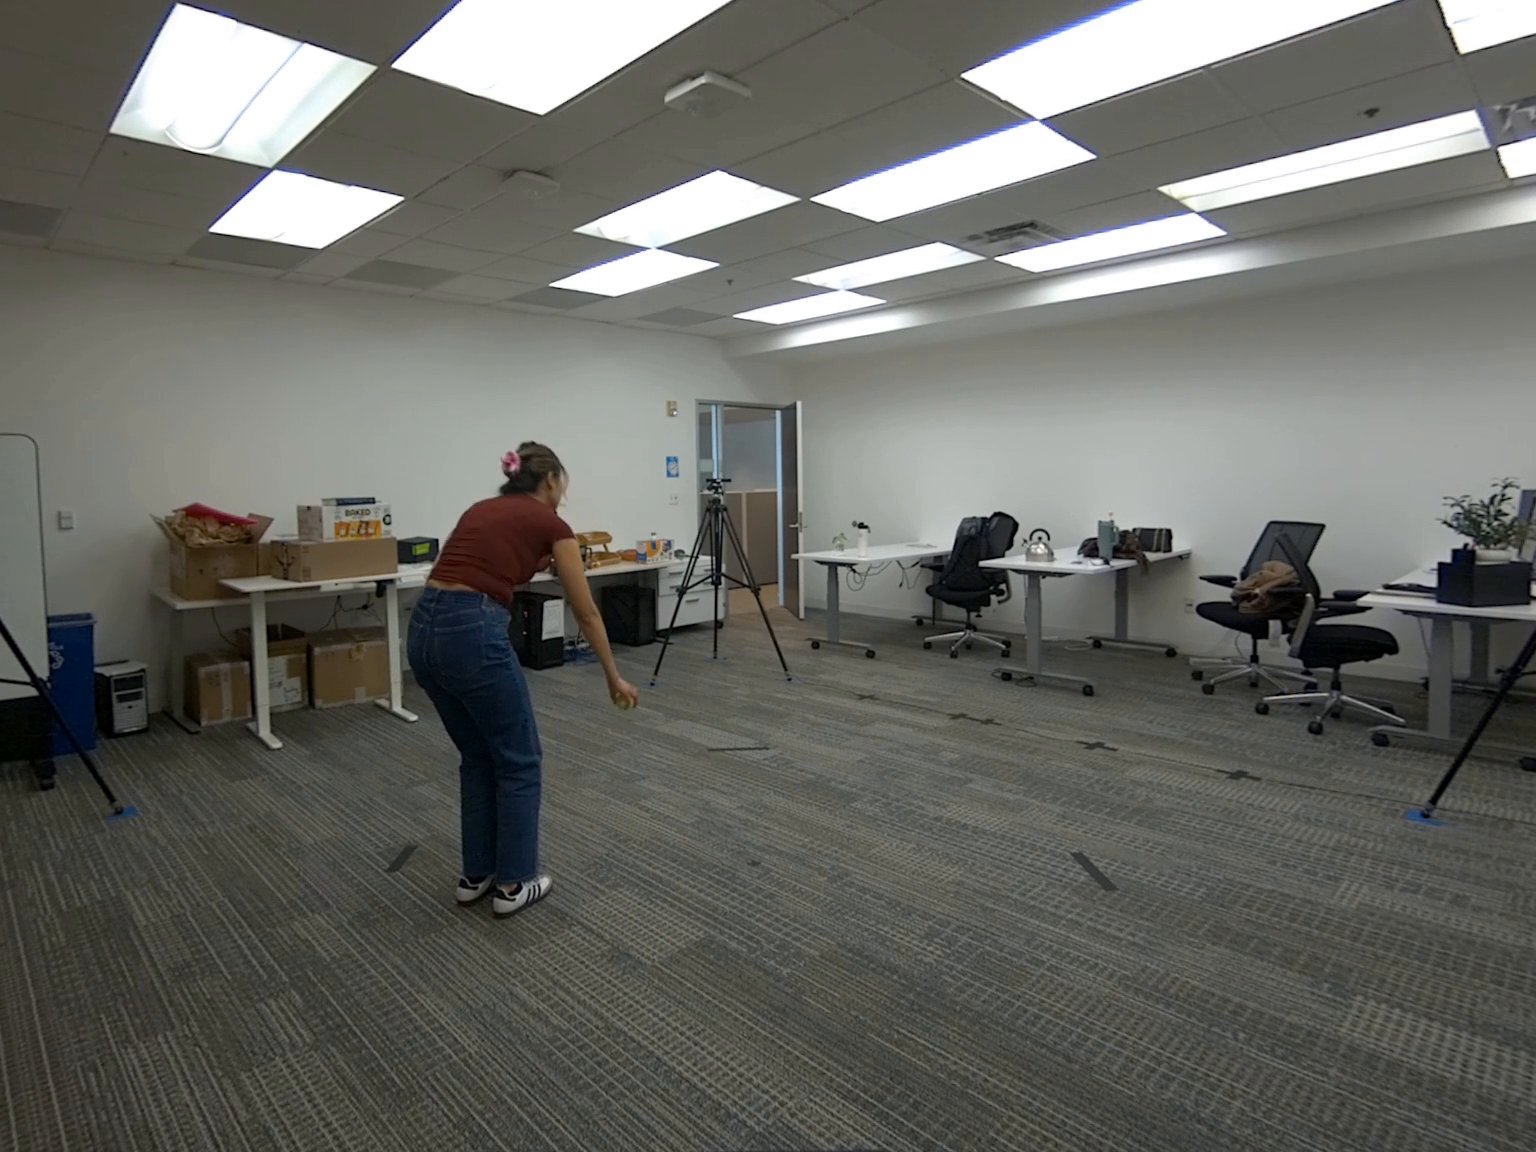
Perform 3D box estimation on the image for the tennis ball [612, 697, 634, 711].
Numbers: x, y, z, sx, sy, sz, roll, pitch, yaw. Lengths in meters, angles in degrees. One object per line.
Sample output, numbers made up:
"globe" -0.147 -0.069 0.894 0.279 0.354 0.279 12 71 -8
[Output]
"tennis ball" -0.519 0.465 3.076 0.066 0.066 0.067 -1 5 -2
